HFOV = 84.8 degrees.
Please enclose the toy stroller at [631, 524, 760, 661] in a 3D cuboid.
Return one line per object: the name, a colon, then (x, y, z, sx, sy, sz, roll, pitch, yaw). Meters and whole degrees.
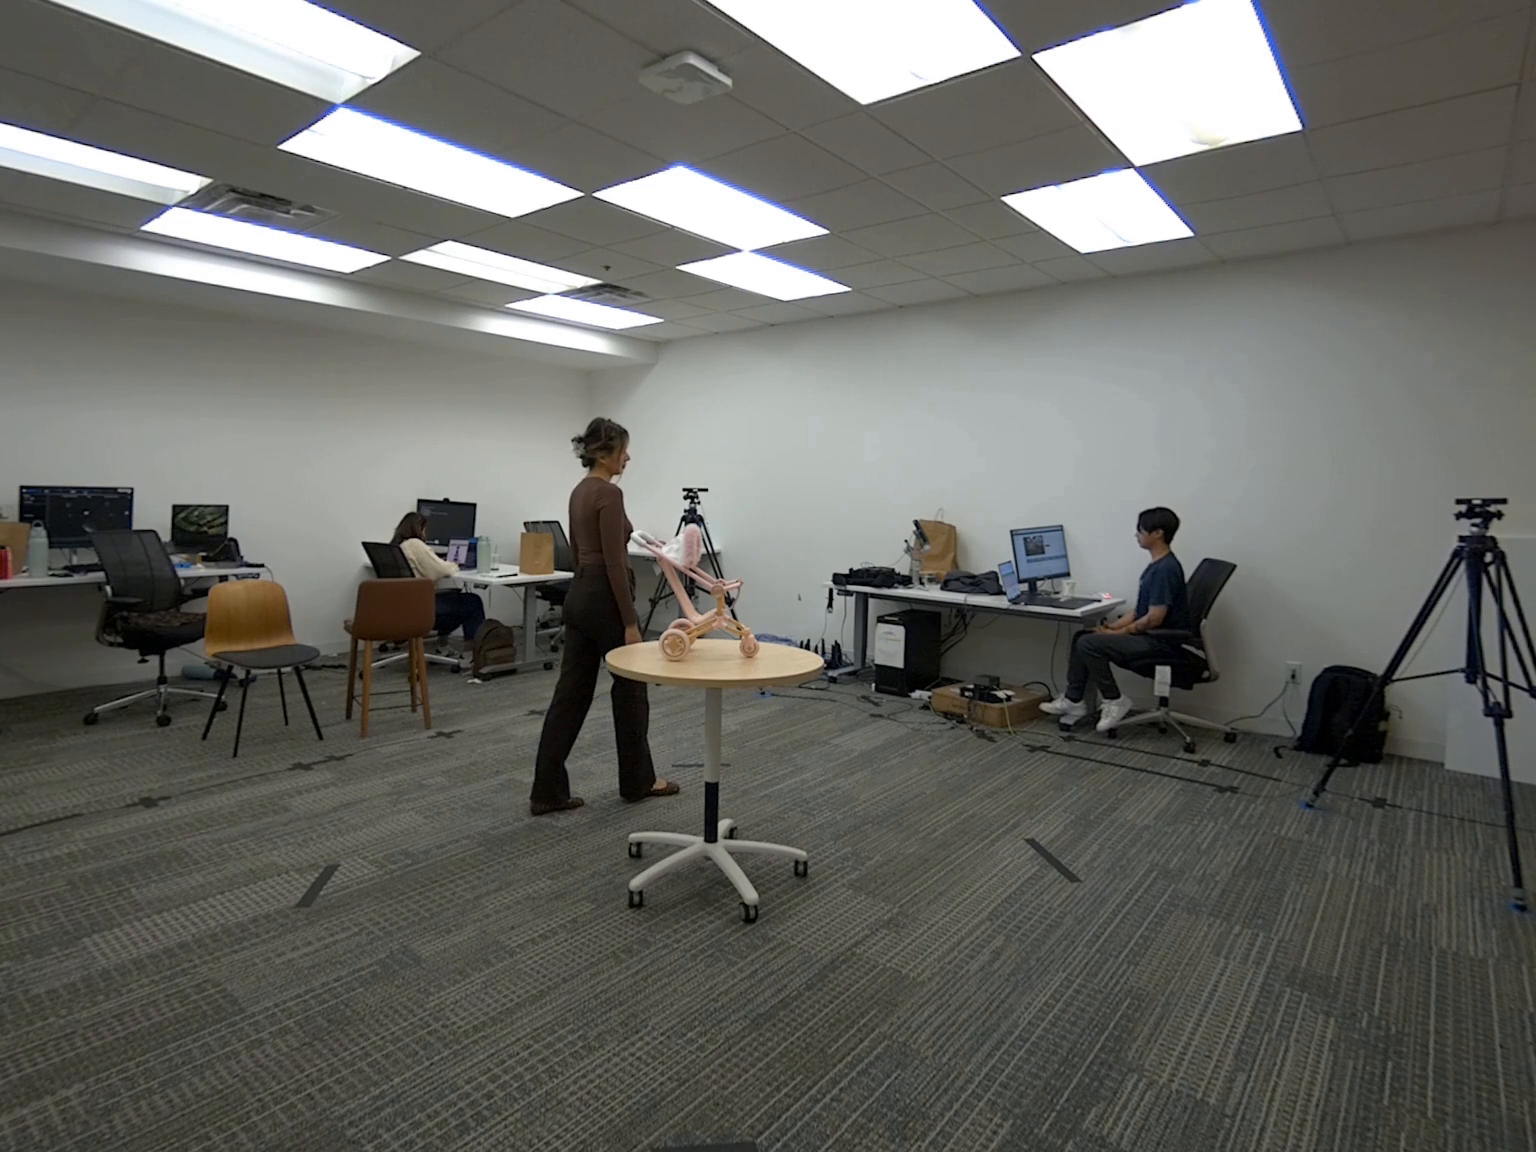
toy stroller: (-0.255, 0.056, 3.009, 0.344, 0.534, 0.280, -14, 1, 8)
